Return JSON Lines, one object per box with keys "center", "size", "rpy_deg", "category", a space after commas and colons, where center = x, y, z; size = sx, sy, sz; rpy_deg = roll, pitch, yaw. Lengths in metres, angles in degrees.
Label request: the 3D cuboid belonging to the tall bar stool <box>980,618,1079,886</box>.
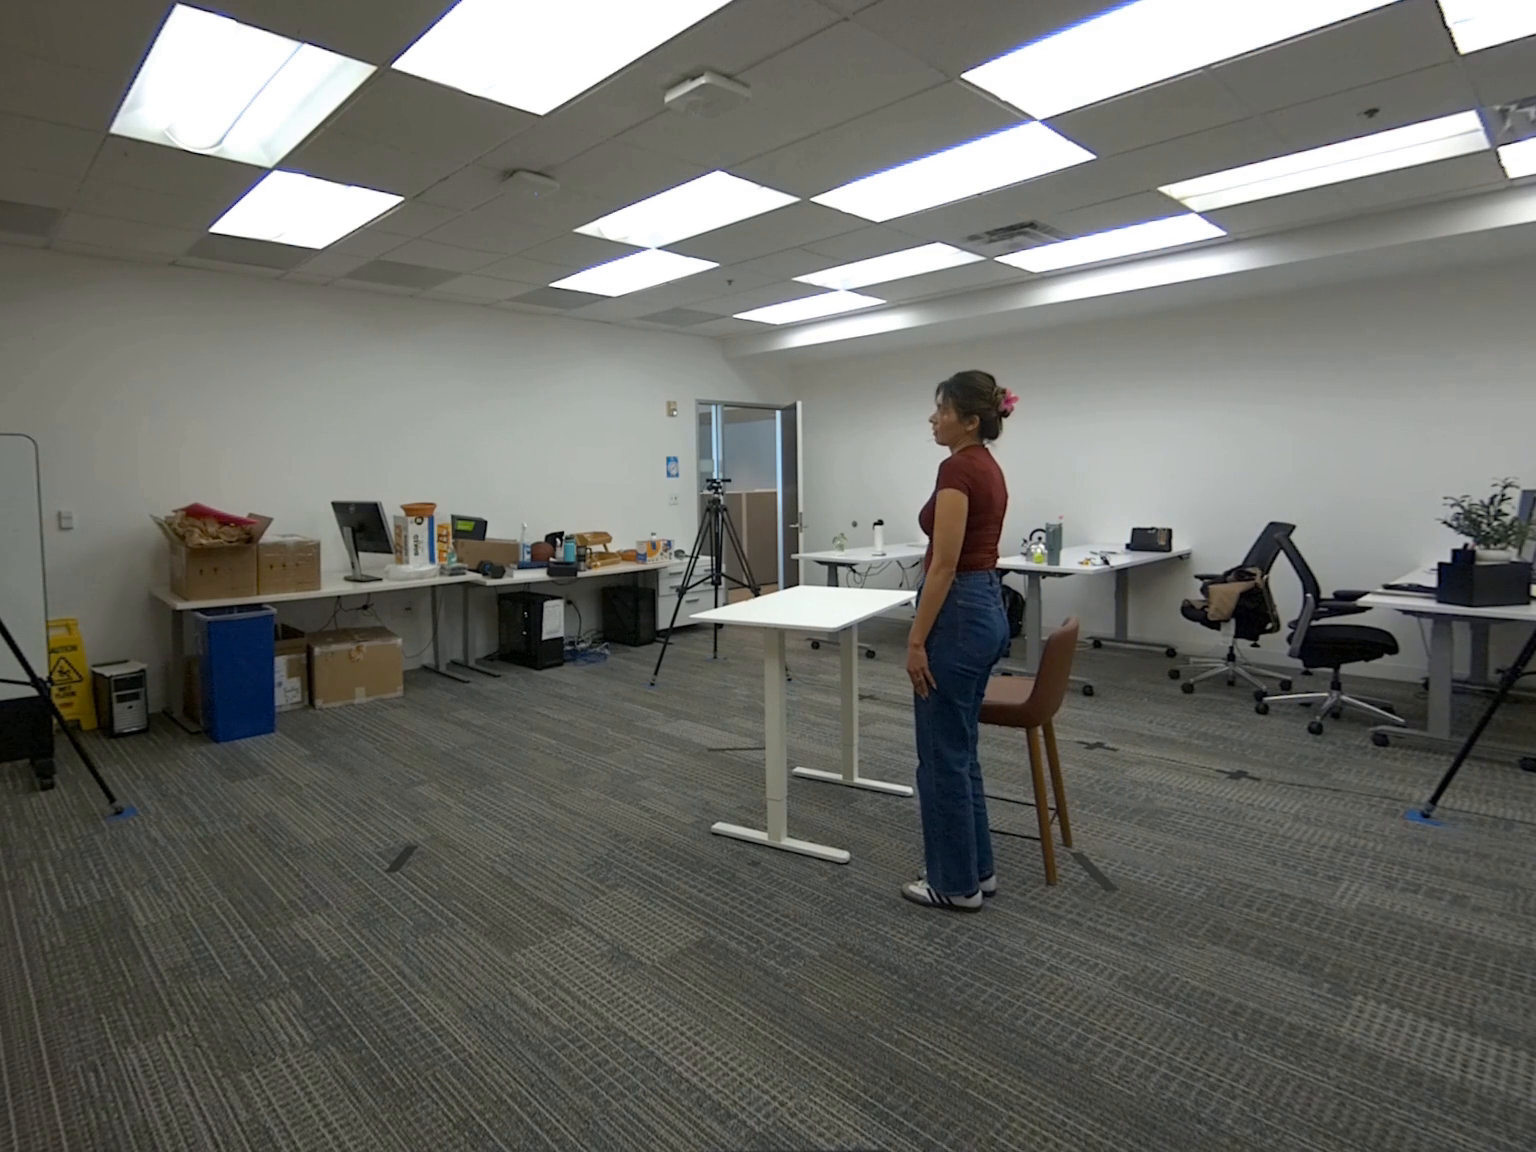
{"center": [0.860, 0.589, 3.147], "size": [0.480, 0.886, 0.446], "rpy_deg": [3, 5, 30], "category": "tall bar stool"}
